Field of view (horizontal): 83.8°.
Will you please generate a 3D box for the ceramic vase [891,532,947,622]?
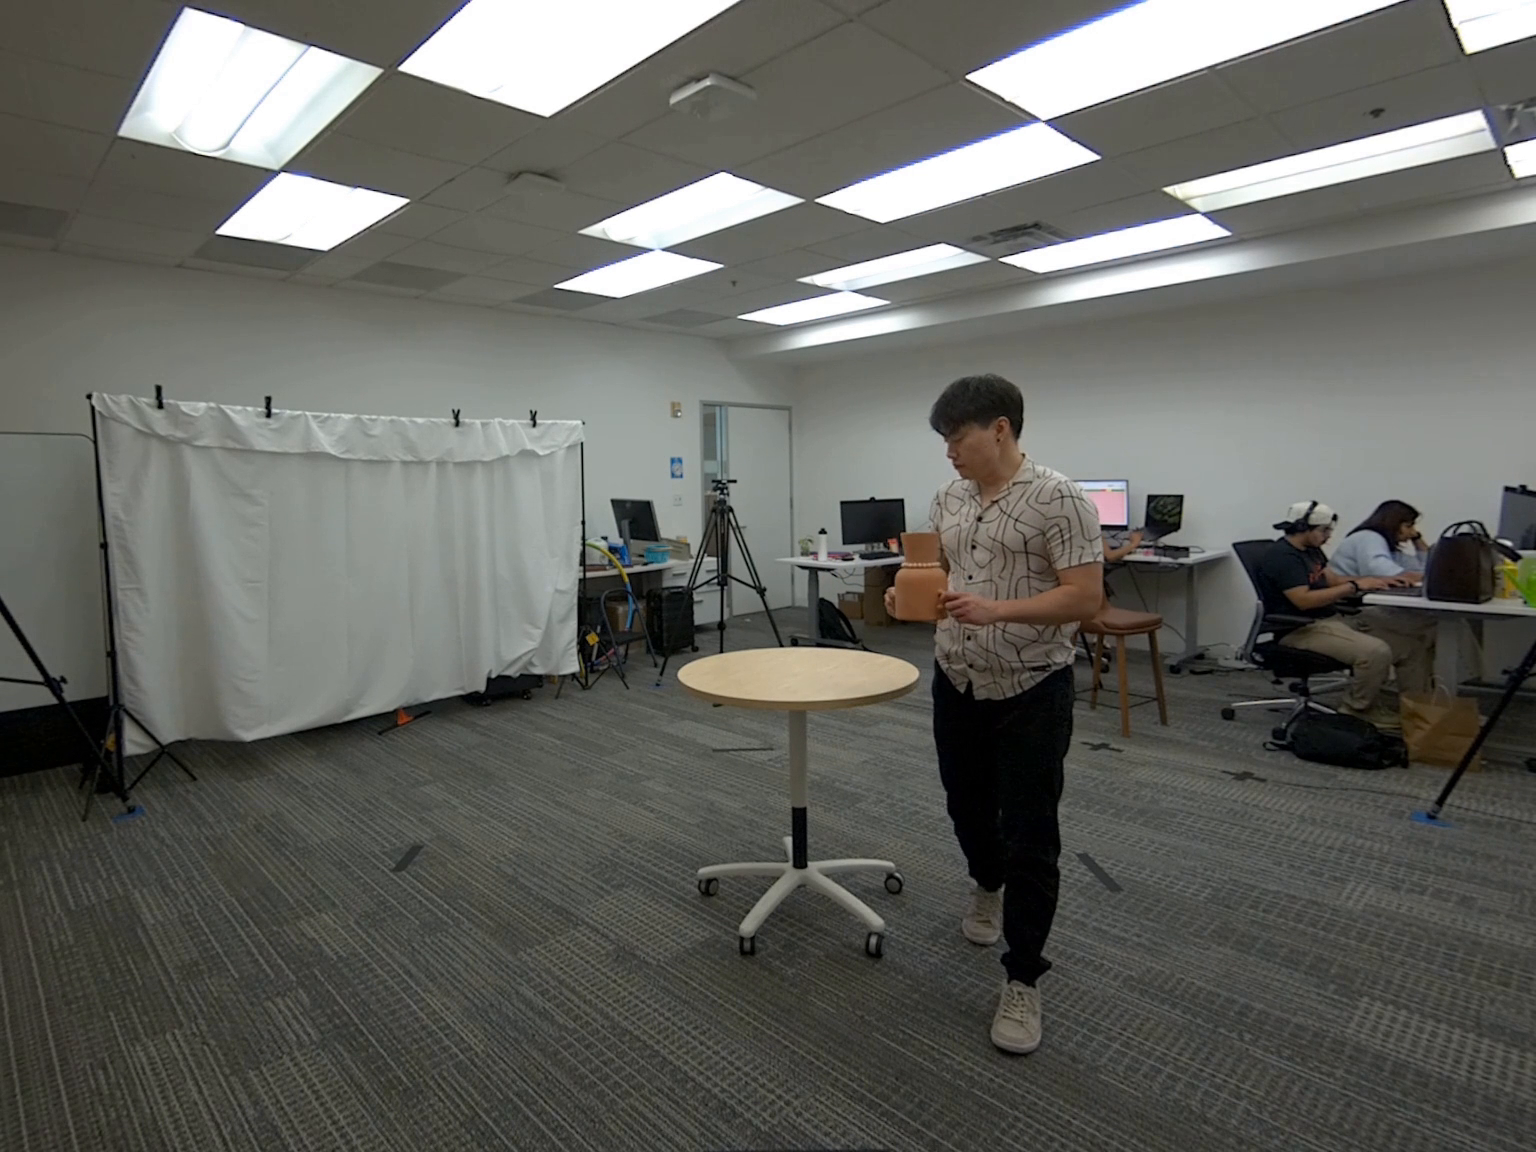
[{"bbox_3d":[0.400,0.002,2.190,0.162,0.219,0.132,1,3,21],"label":"ceramic vase"}]
